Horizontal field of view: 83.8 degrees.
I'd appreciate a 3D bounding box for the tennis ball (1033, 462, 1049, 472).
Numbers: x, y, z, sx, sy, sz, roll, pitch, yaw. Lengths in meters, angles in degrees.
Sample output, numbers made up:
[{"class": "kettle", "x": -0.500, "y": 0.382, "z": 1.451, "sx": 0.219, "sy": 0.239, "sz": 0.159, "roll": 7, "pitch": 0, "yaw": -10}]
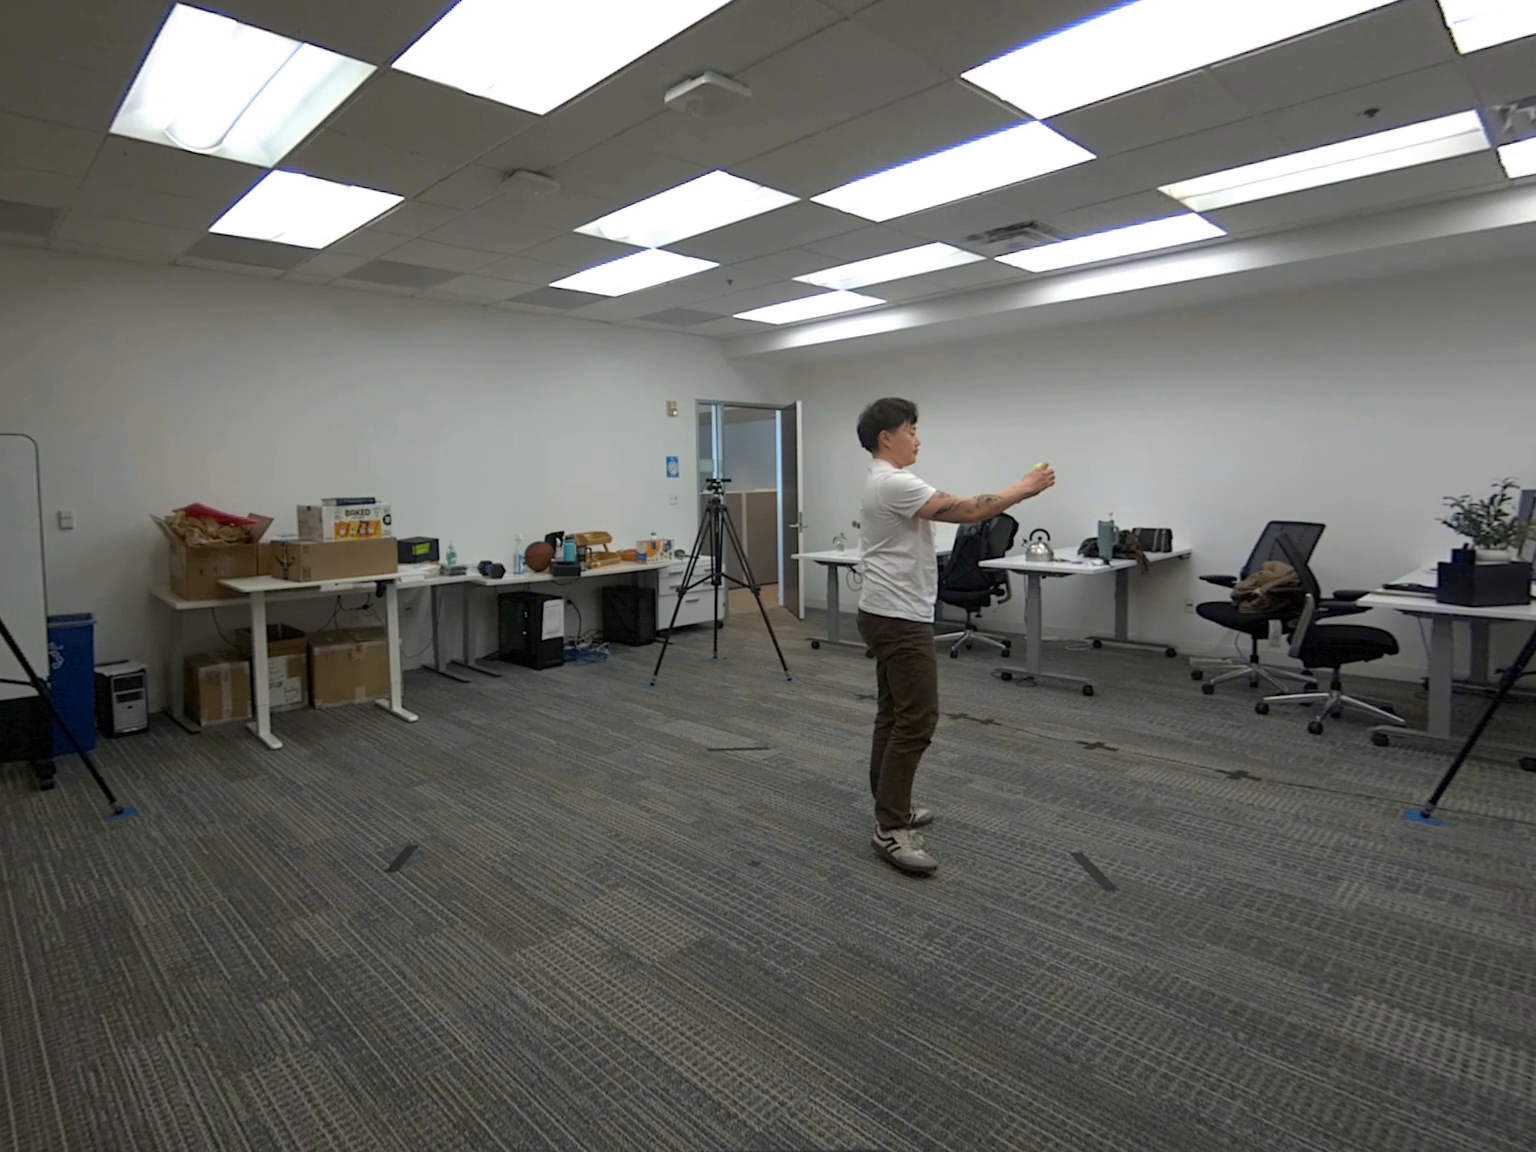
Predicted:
[{"class": "tennis ball", "x": 1.028, "y": -0.388, "z": 3.190, "sx": 0.066, "sy": 0.066, "sz": 0.067, "roll": -1, "pitch": 5, "yaw": -2}]
